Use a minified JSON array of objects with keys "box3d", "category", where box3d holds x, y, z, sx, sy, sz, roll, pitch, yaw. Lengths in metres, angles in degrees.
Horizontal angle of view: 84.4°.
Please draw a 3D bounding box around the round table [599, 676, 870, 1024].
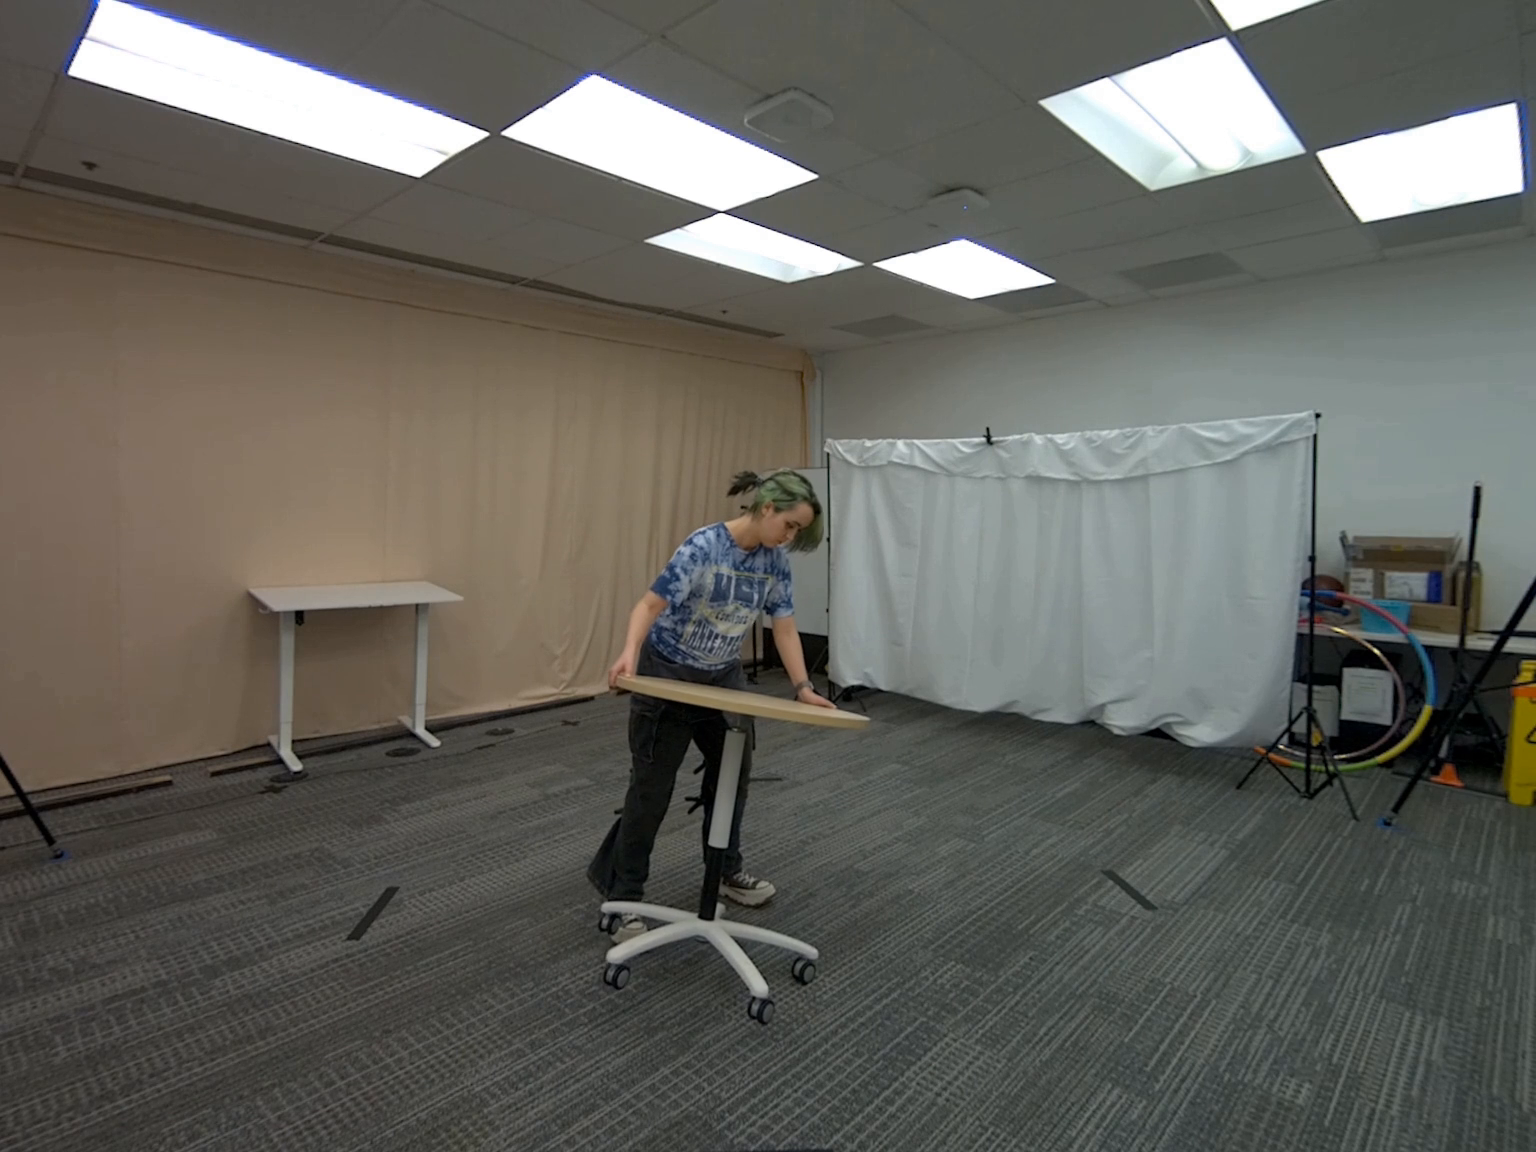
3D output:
[{"box3d":[-0.132,0.753,2.470,0.764,0.796,0.762,9,-6,-1],"category":"round table"}]
